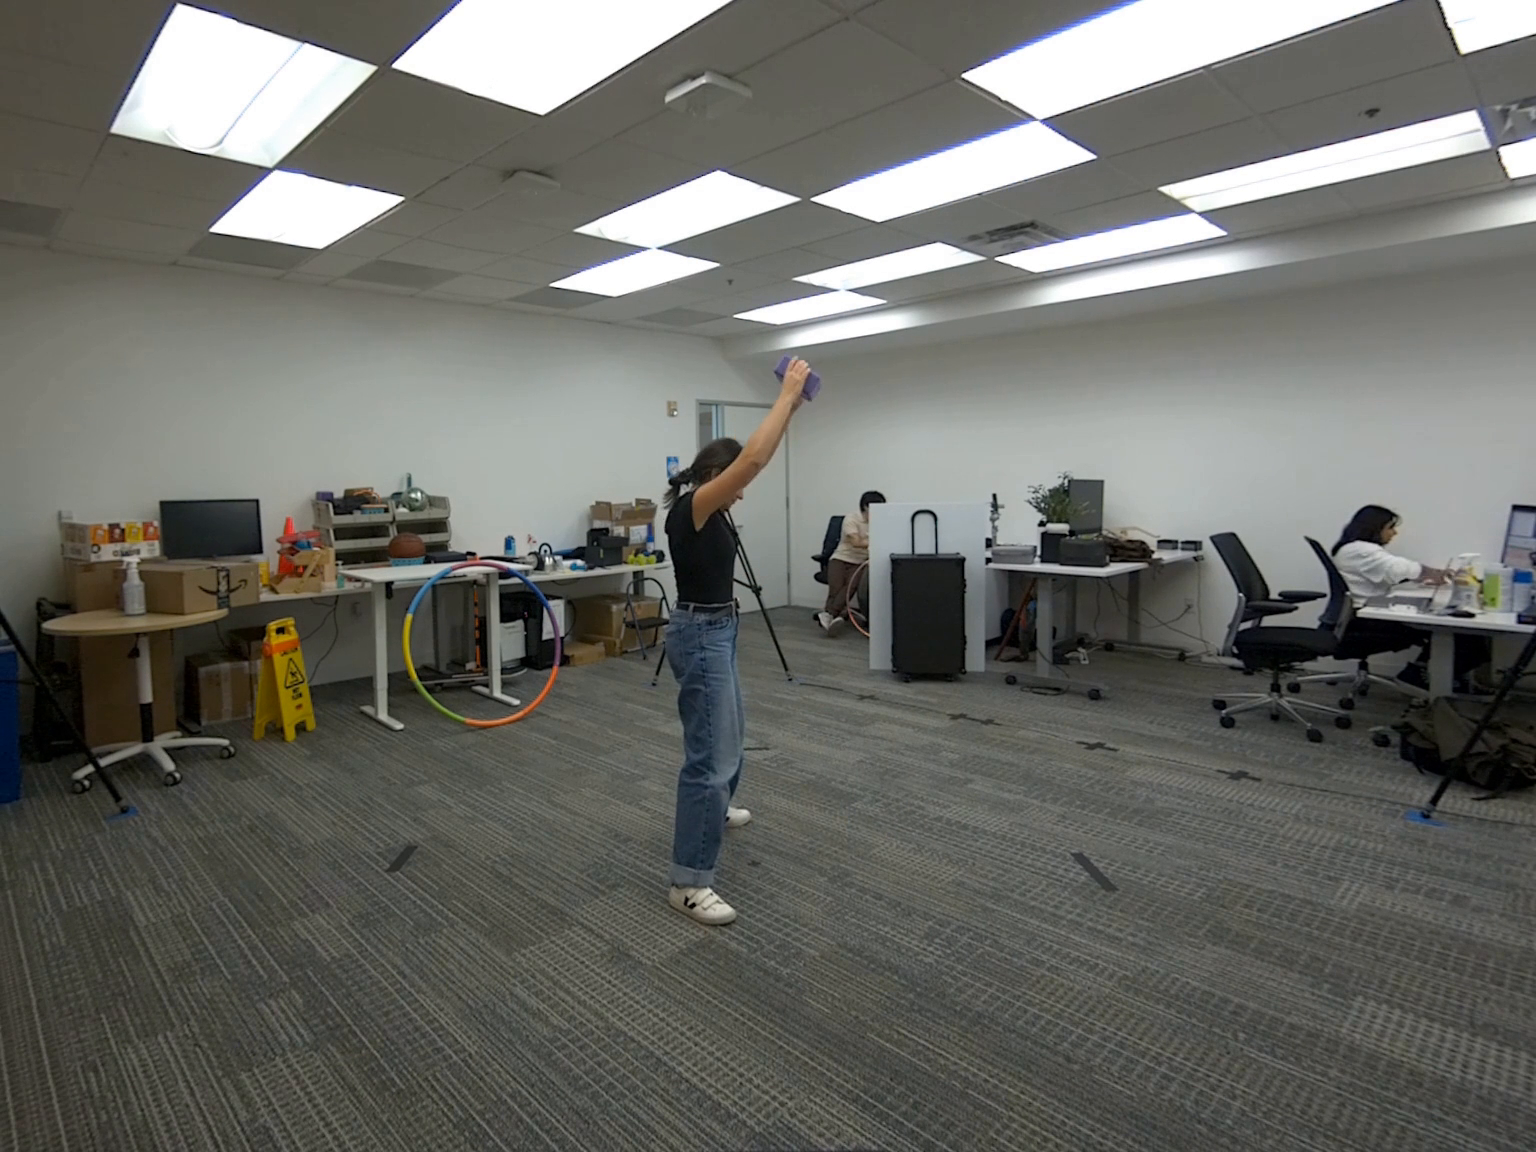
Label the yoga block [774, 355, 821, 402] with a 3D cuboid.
[{"bbox_3d":[0.117,-0.670,2.967,0.150,0.076,0.229,35,6,2],"label":"yoga block"}]
